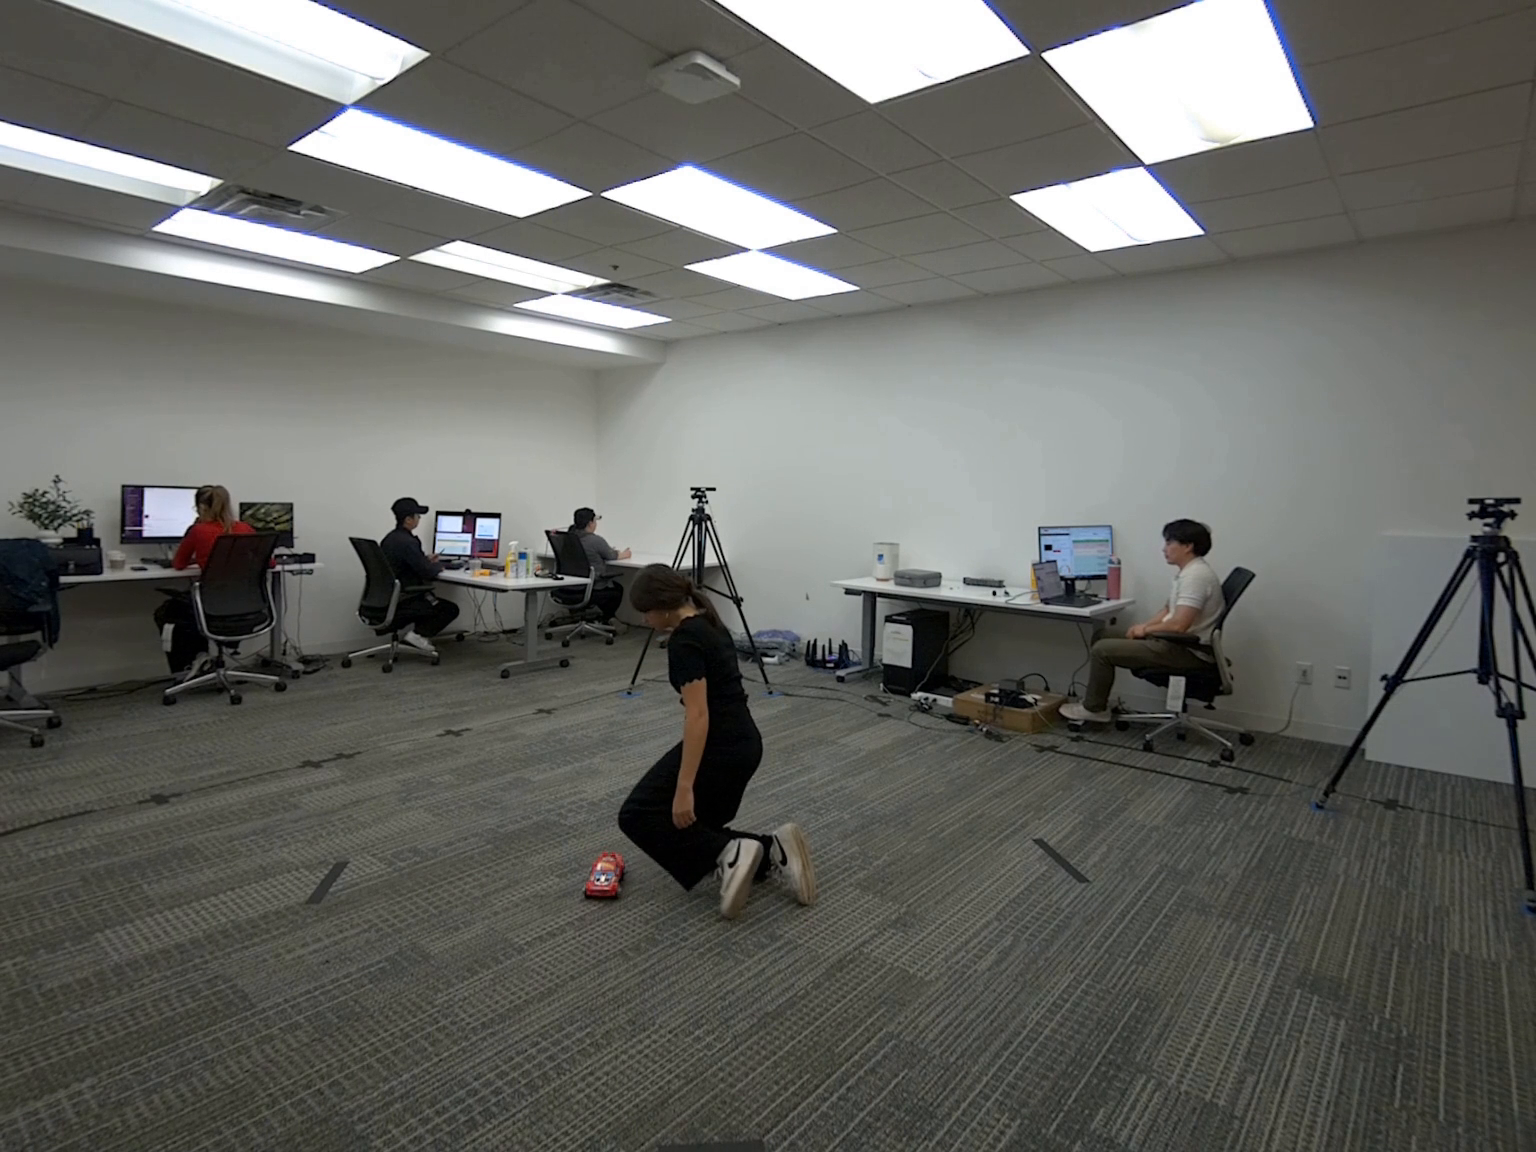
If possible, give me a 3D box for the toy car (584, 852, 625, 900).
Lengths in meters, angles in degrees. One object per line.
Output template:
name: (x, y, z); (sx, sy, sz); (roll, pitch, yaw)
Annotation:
toy car: (-0.575, 1.042, 2.964); (0.130, 0.082, 0.259); (0, 16, -3)
